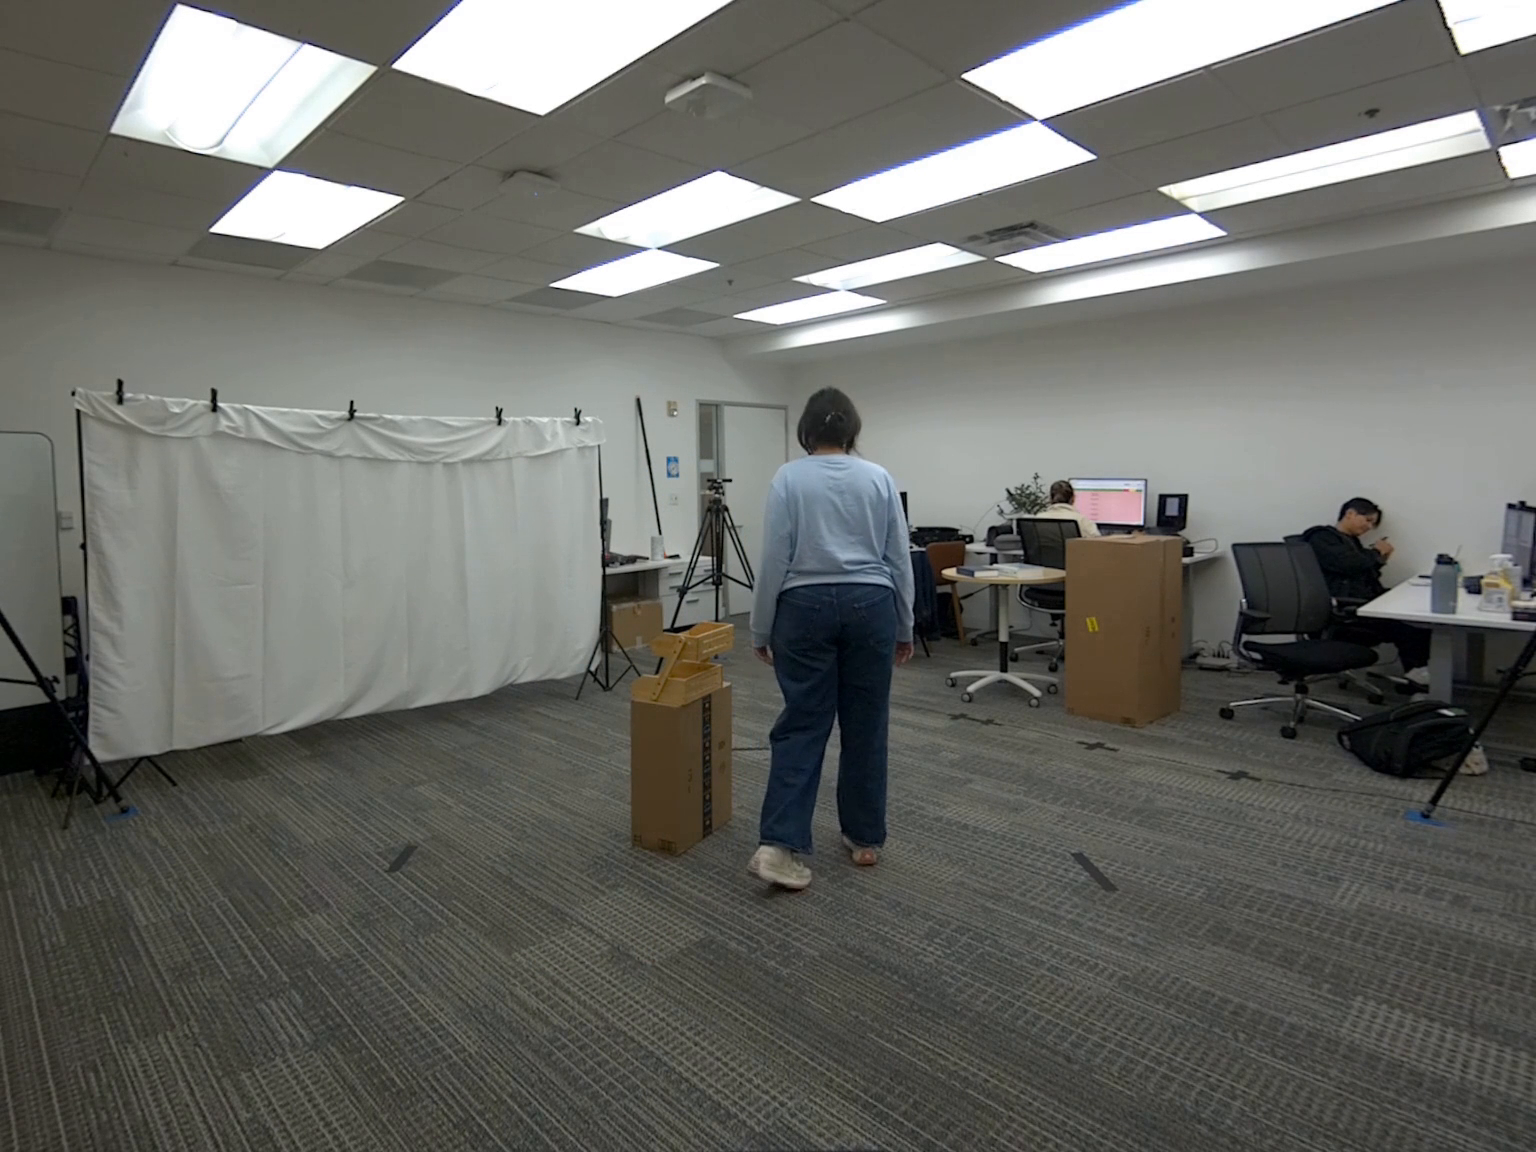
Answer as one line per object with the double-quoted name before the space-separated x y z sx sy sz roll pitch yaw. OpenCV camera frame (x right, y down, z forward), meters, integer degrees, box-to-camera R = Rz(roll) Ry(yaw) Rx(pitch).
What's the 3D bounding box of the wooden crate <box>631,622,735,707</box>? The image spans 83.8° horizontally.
"wooden crate" -0.338 0.327 3.341 0.309 0.272 0.318 3 7 26
